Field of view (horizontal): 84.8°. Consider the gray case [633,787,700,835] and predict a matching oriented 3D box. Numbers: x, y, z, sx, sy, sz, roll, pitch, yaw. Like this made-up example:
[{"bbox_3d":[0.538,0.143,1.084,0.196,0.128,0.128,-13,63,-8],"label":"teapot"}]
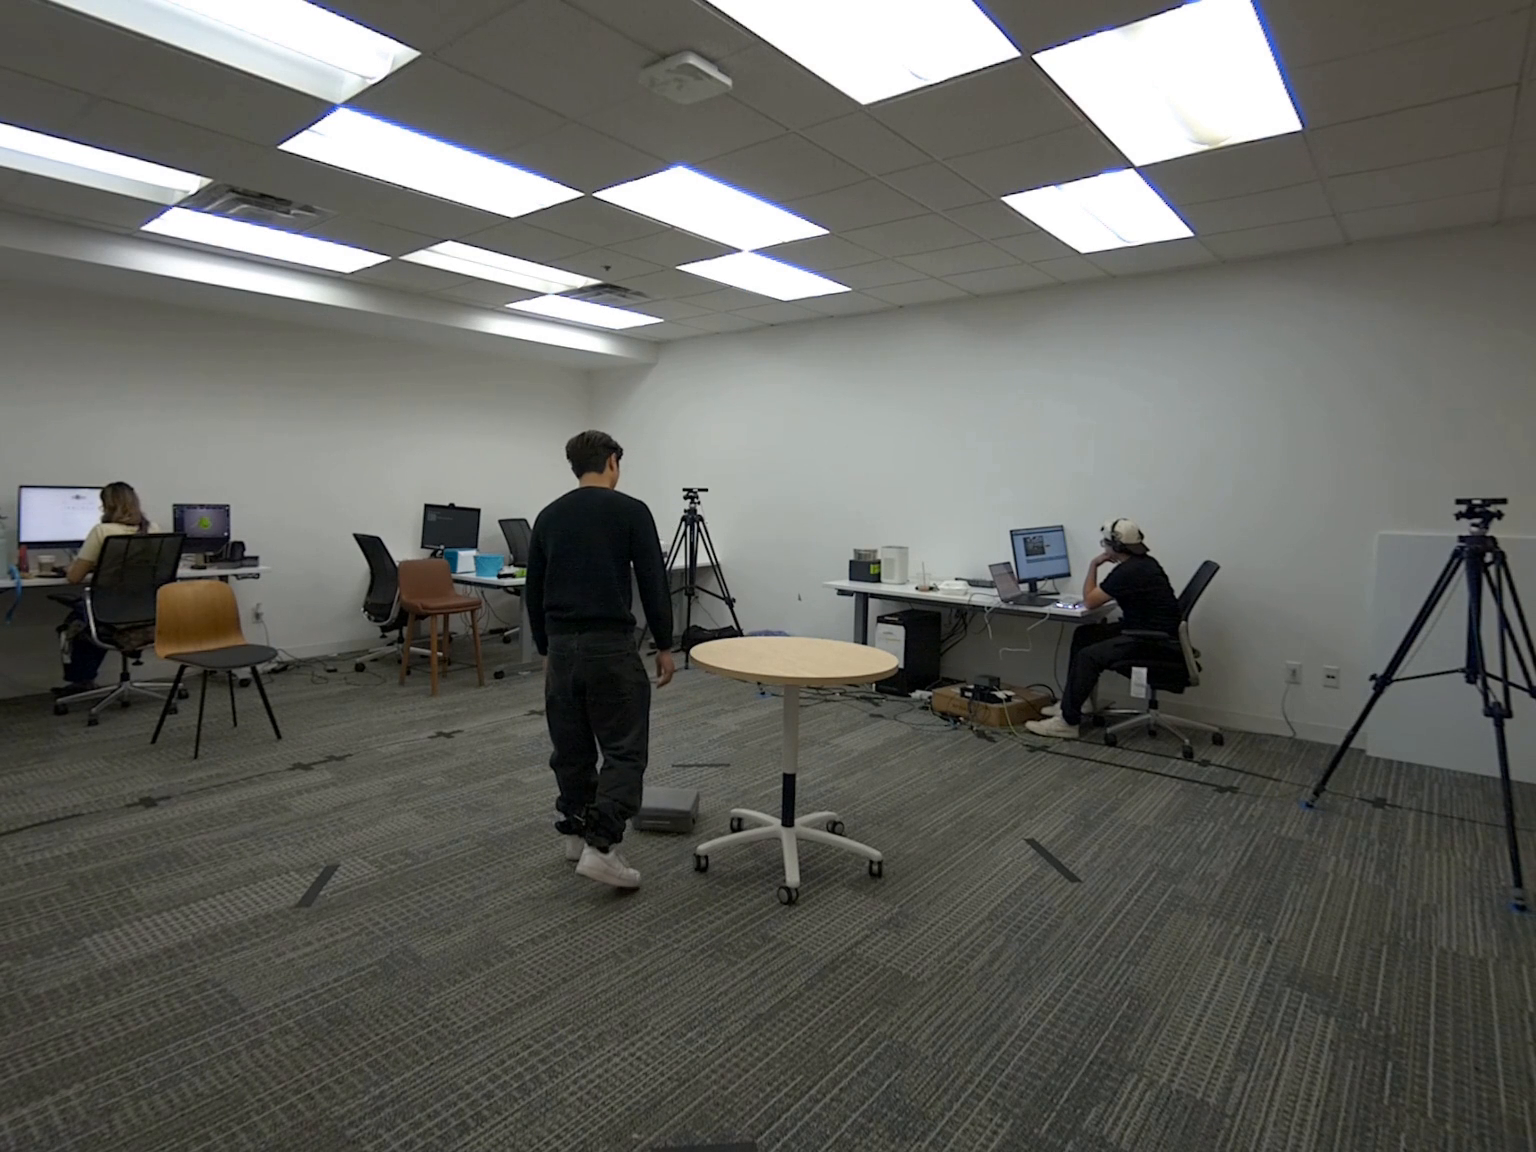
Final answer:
[{"bbox_3d":[-0.430,0.964,3.549,0.259,0.104,0.260,2,7,6],"label":"gray case"}]
